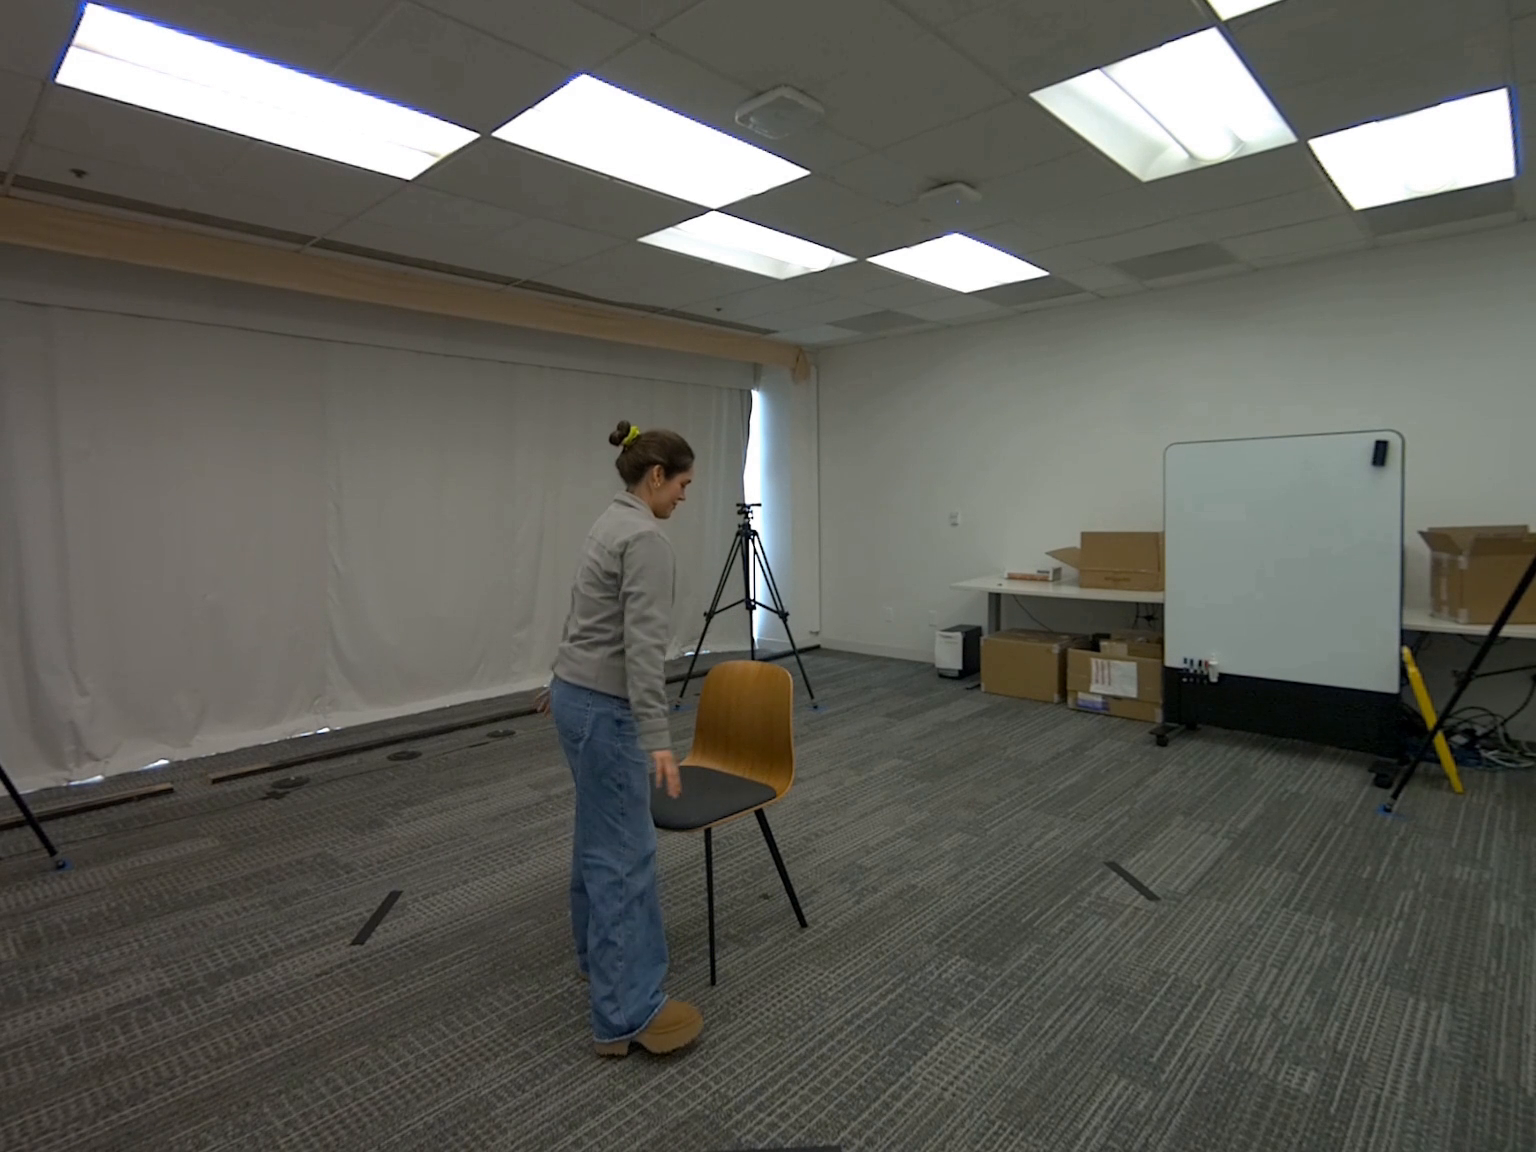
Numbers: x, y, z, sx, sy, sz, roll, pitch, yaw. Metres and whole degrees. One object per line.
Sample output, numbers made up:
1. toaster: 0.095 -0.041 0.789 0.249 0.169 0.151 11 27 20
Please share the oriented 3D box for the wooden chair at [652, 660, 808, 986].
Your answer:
1. wooden chair: -0.191 0.737 2.716 0.494 0.877 0.506 2 1 41
